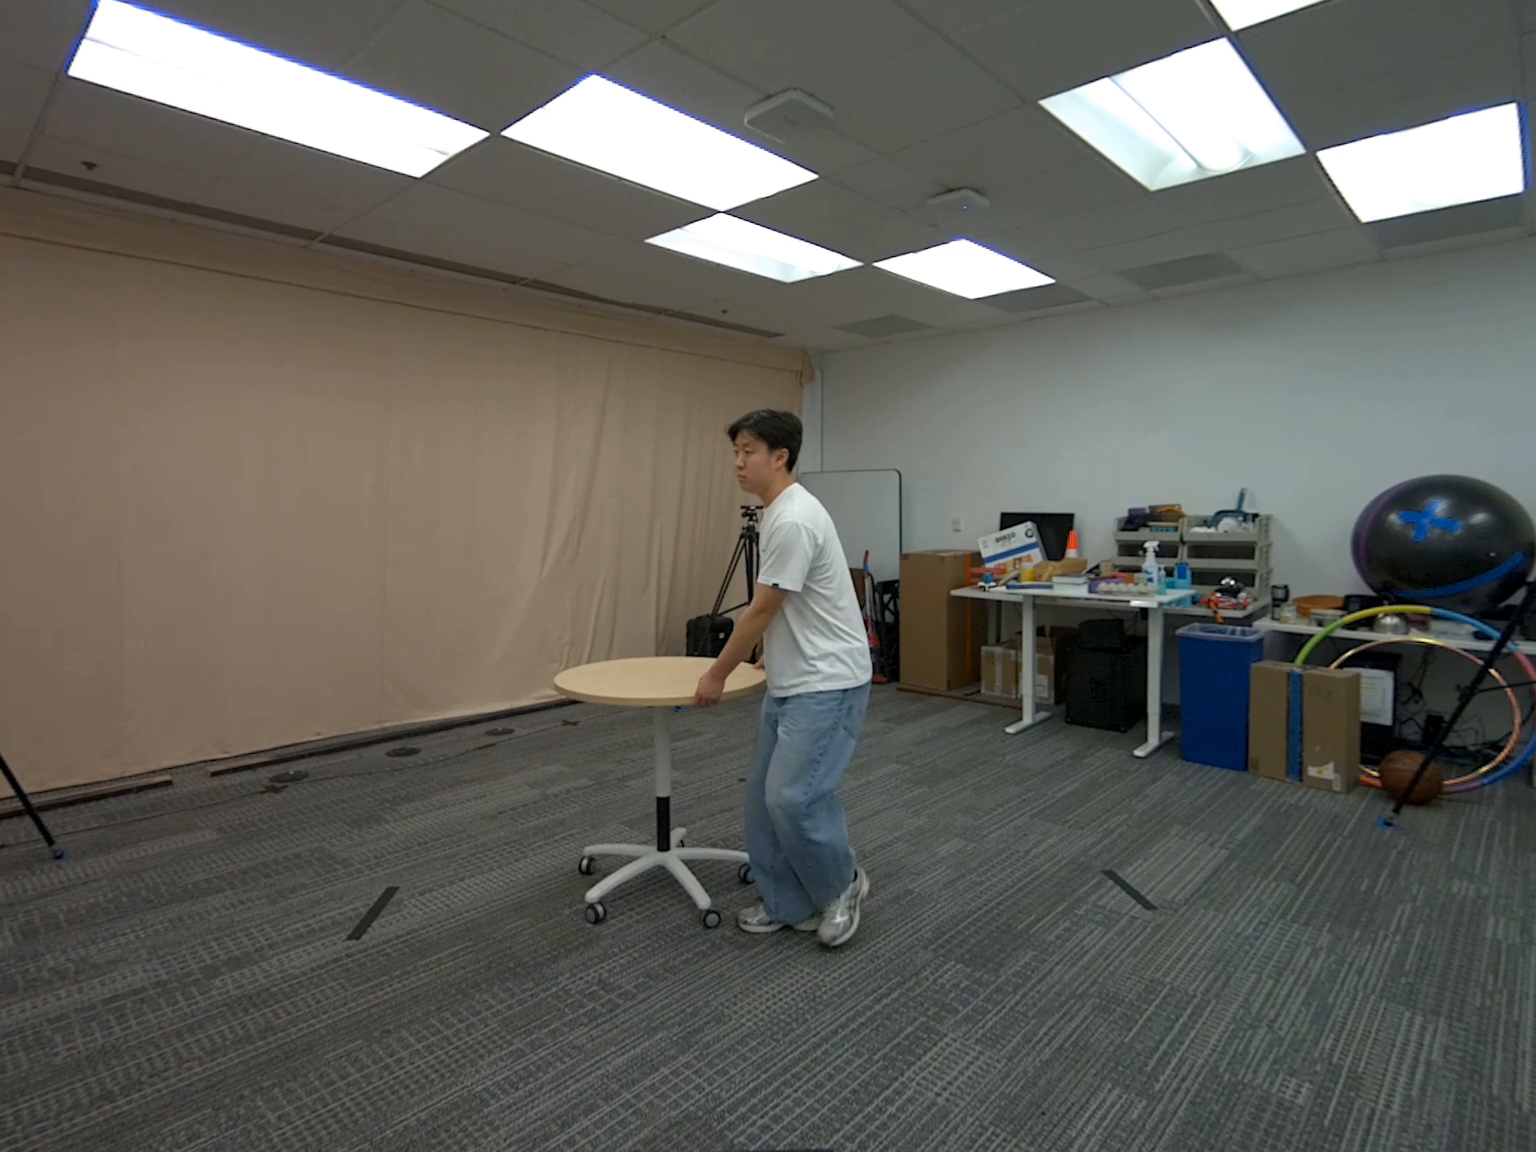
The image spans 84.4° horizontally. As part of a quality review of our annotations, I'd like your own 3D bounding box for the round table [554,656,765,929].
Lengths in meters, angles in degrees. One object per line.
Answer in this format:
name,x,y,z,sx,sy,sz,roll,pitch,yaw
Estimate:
round table,-0.379,0.751,3.059,0.763,0.792,0.766,-1,3,-2
